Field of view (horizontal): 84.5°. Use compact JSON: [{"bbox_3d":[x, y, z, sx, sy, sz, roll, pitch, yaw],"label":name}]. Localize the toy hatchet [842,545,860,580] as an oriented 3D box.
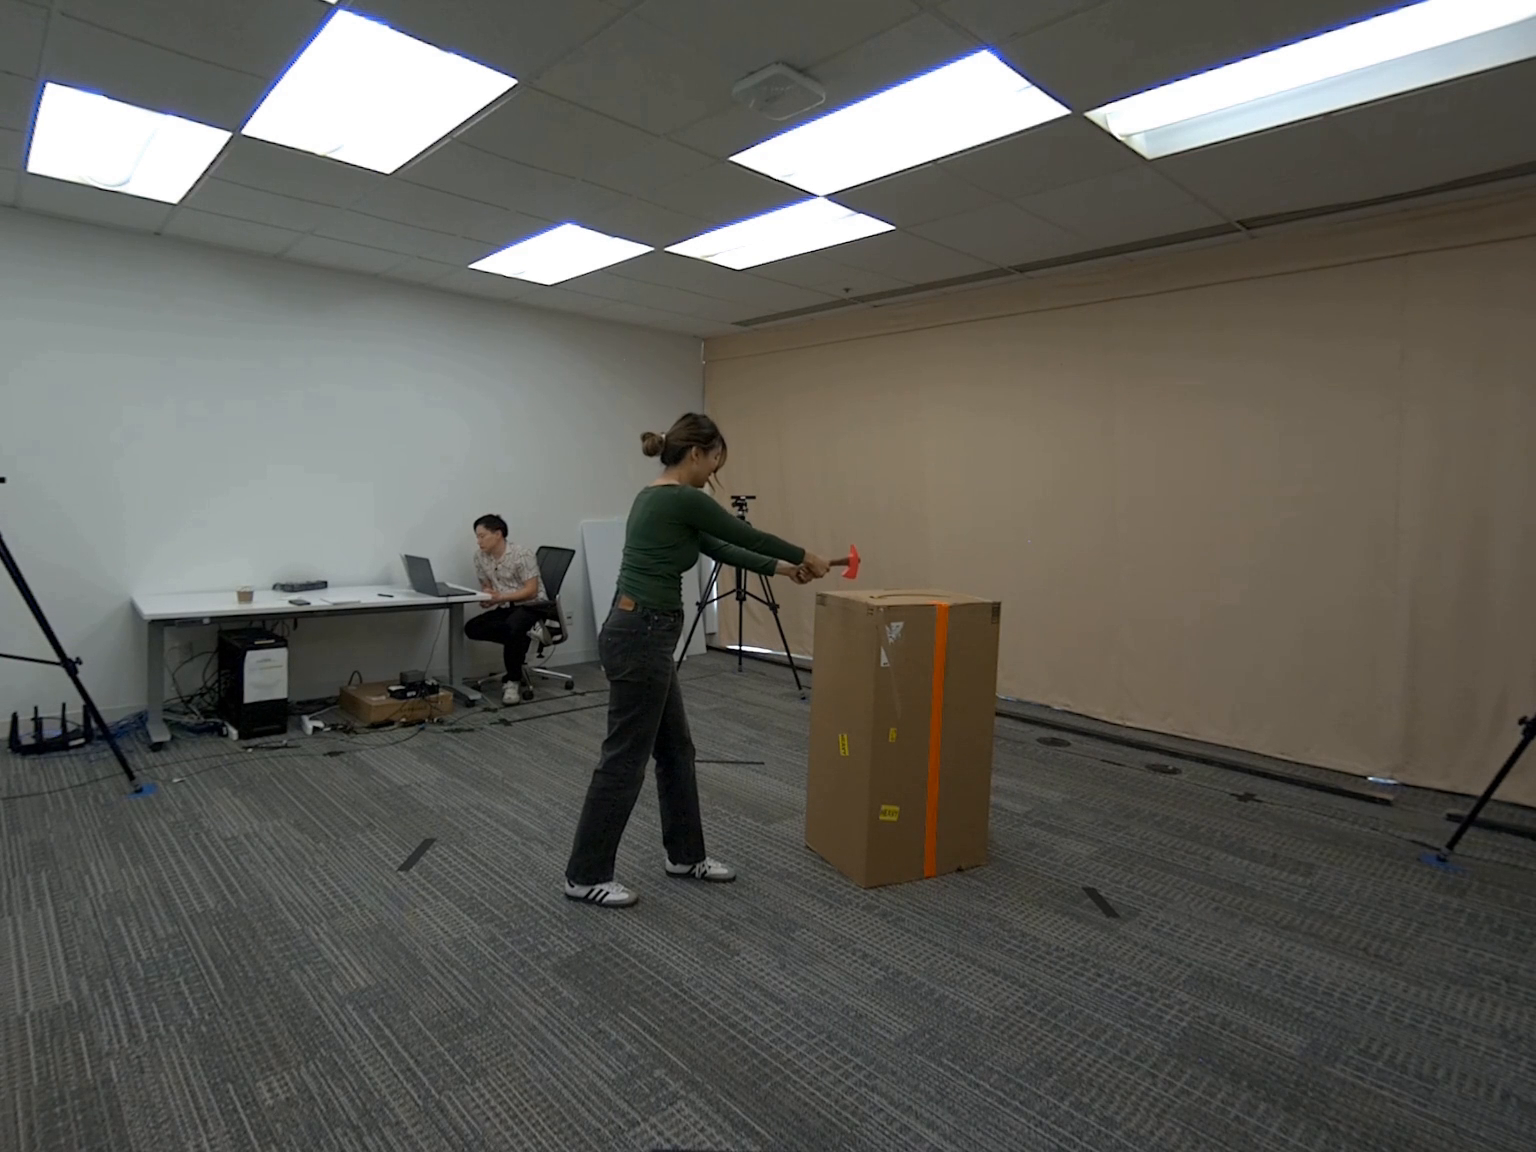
[{"bbox_3d":[0.233,-0.019,3.165,0.268,0.129,0.030,-27,16,-20],"label":"toy hatchet"}]
